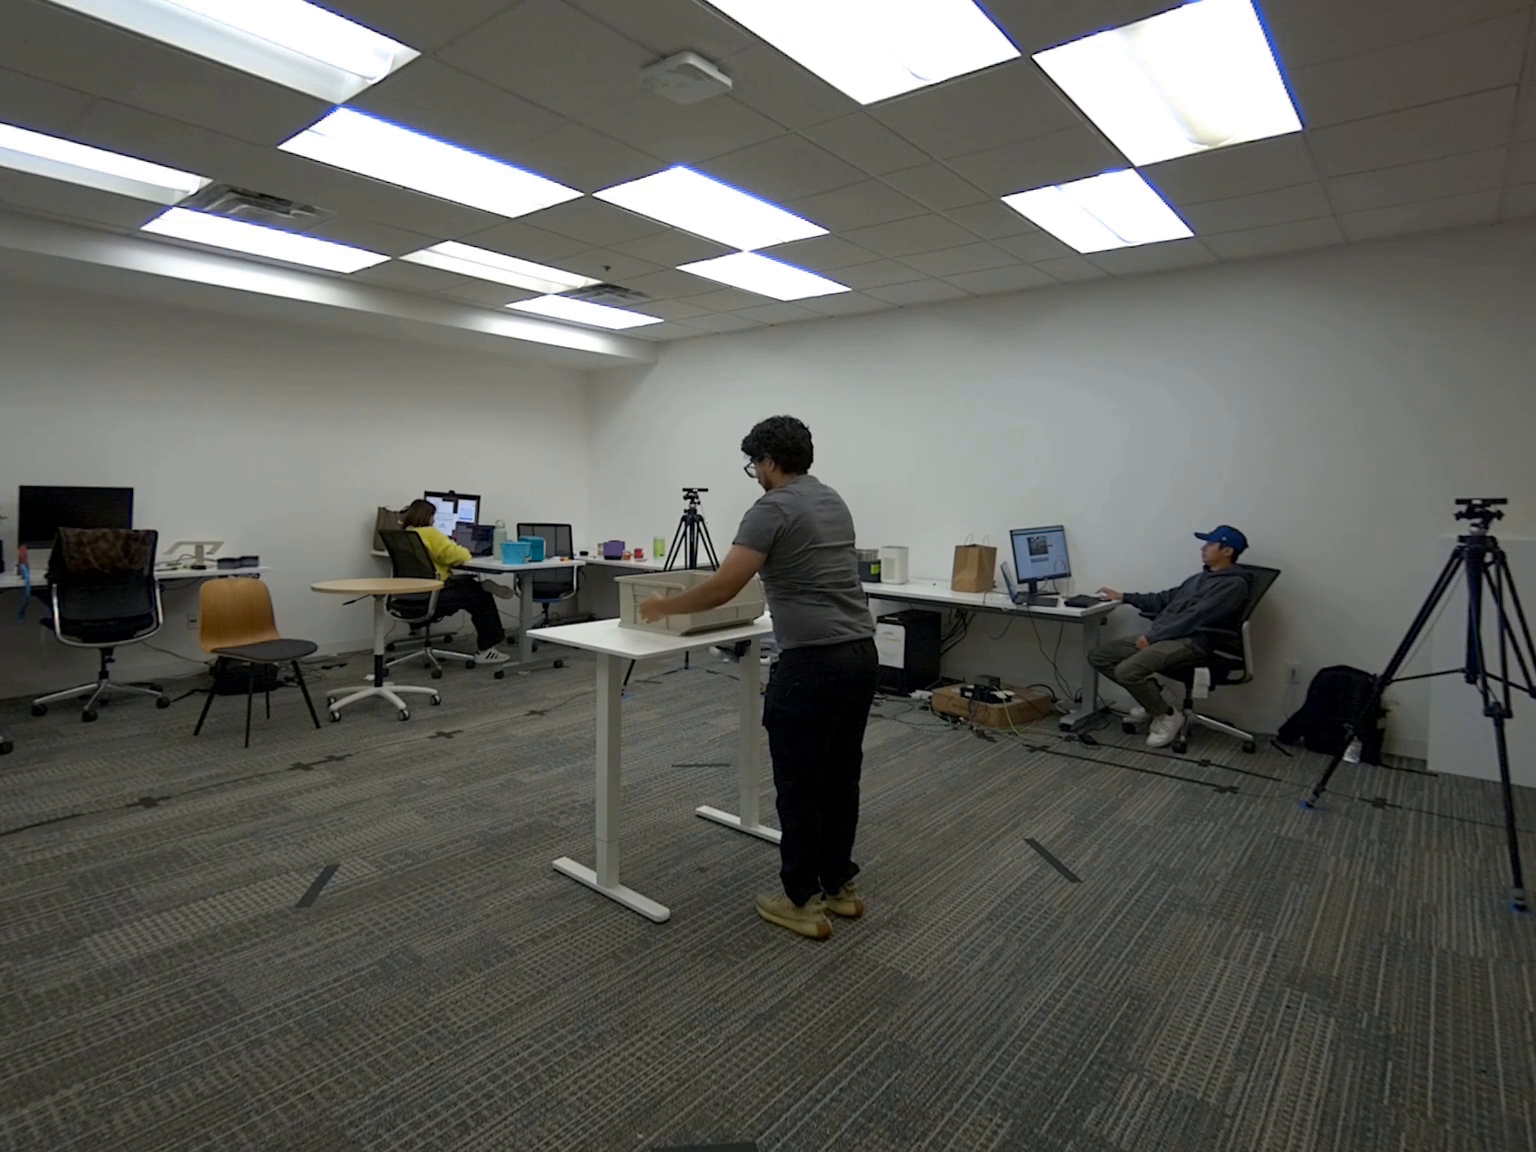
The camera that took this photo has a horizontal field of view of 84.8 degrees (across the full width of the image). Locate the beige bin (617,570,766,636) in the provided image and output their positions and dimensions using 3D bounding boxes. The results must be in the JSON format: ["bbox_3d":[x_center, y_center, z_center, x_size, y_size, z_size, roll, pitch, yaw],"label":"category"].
[{"bbox_3d":[-0.293,0.096,3.143,0.390,0.188,0.410,3,6,40],"label":"beige bin"}]
